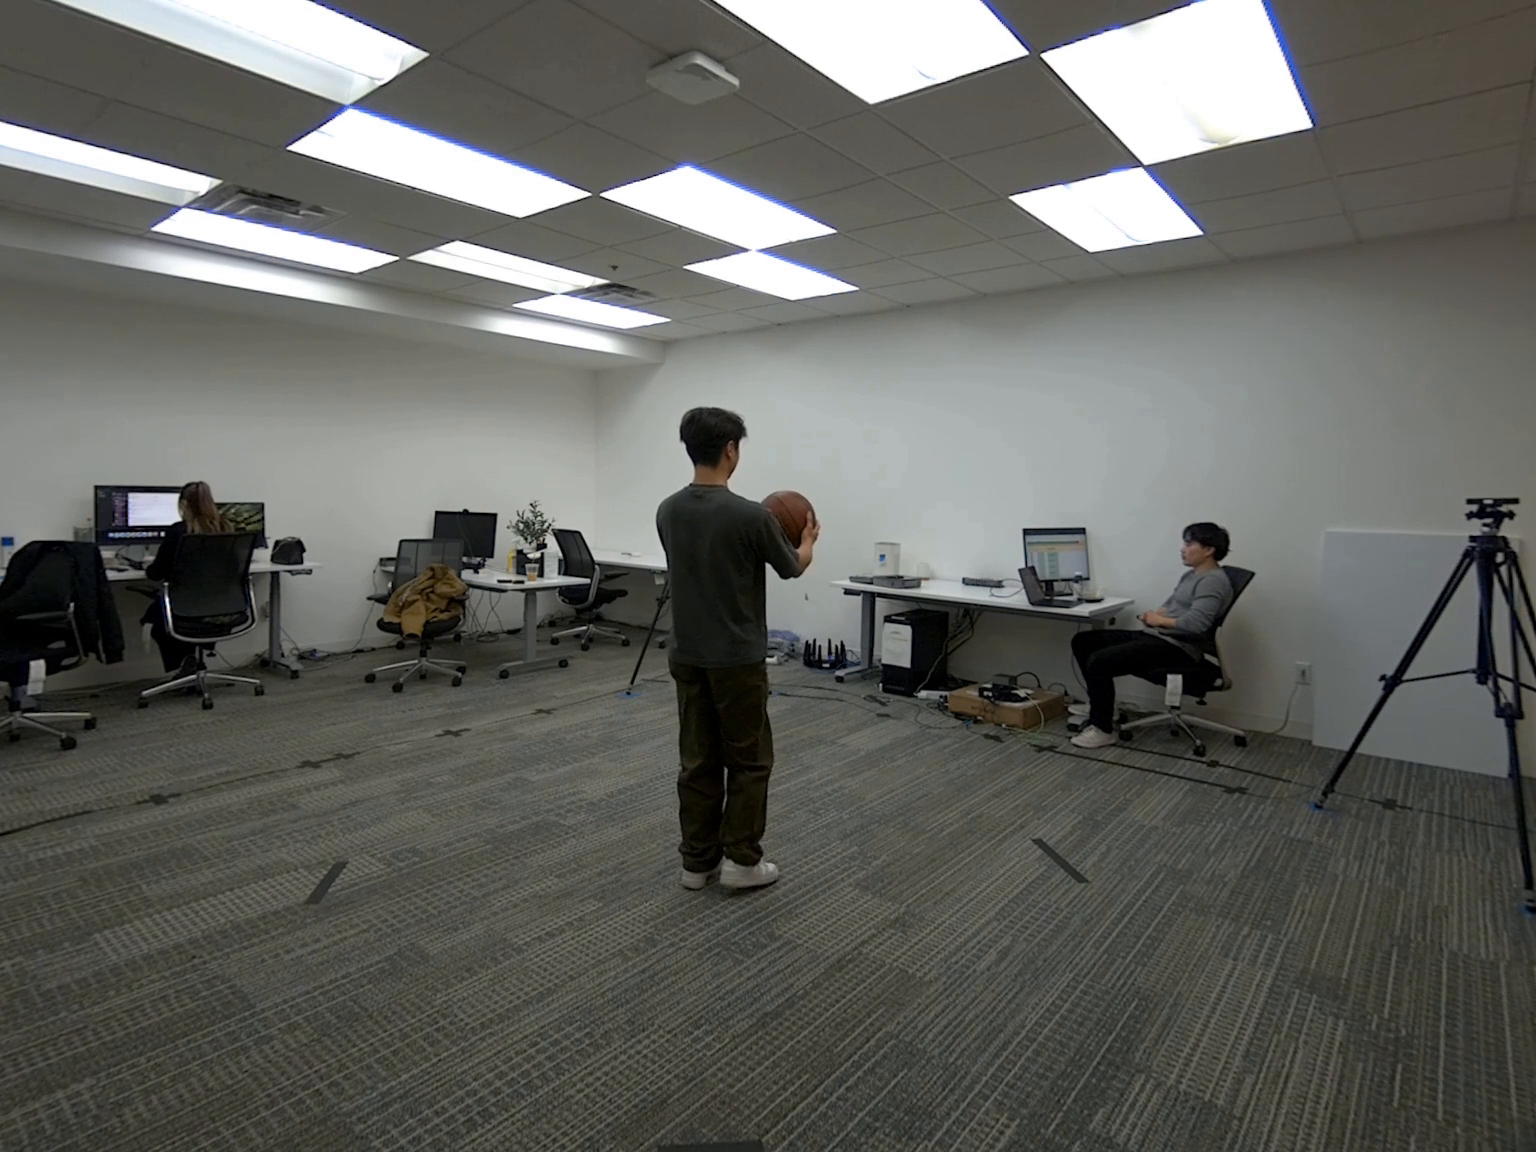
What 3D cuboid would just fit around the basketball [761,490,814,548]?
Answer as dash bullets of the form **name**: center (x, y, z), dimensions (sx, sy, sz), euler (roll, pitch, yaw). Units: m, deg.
- **basketball**: center (0.057, -0.209, 3.308), dimensions (0.235, 0.235, 0.237), euler (1, 4, -2)
